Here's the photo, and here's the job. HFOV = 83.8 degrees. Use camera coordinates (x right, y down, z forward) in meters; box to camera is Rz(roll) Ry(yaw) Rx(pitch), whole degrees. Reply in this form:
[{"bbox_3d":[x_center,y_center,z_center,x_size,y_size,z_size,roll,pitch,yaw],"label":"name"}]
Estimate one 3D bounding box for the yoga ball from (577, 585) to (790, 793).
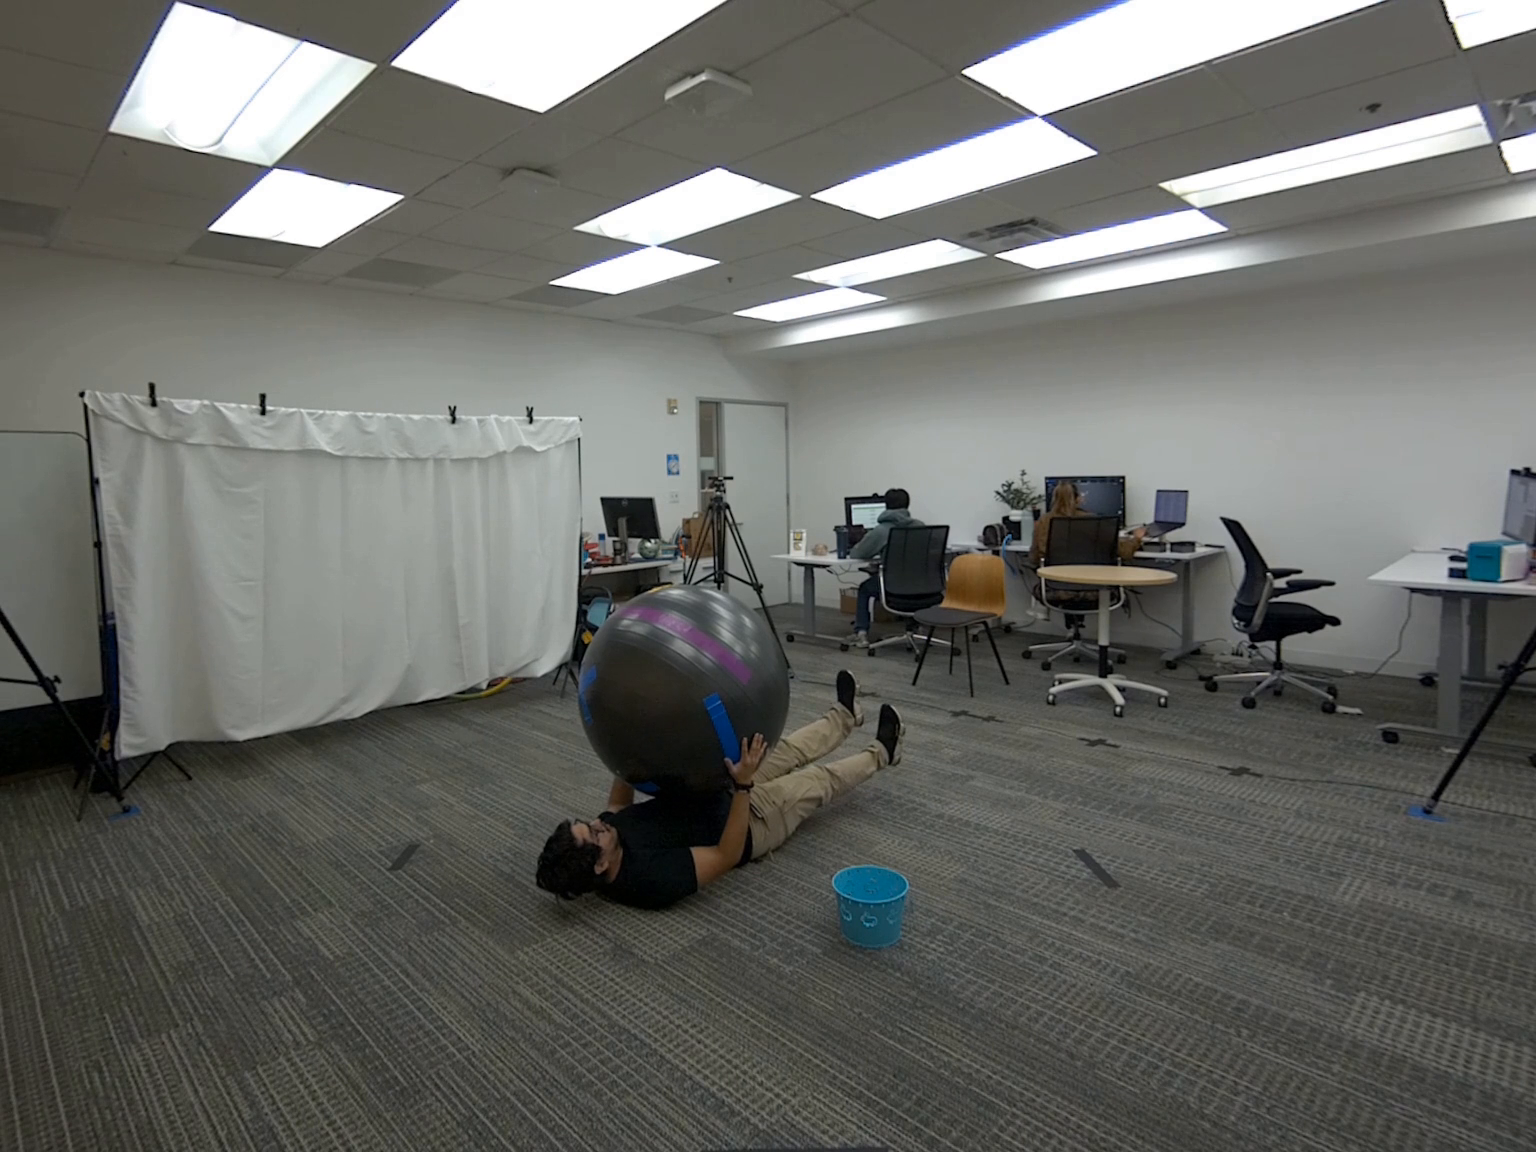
[{"bbox_3d":[-0.298,0.411,3.068,0.757,0.755,0.761,-1,4,-2],"label":"yoga ball"}]
